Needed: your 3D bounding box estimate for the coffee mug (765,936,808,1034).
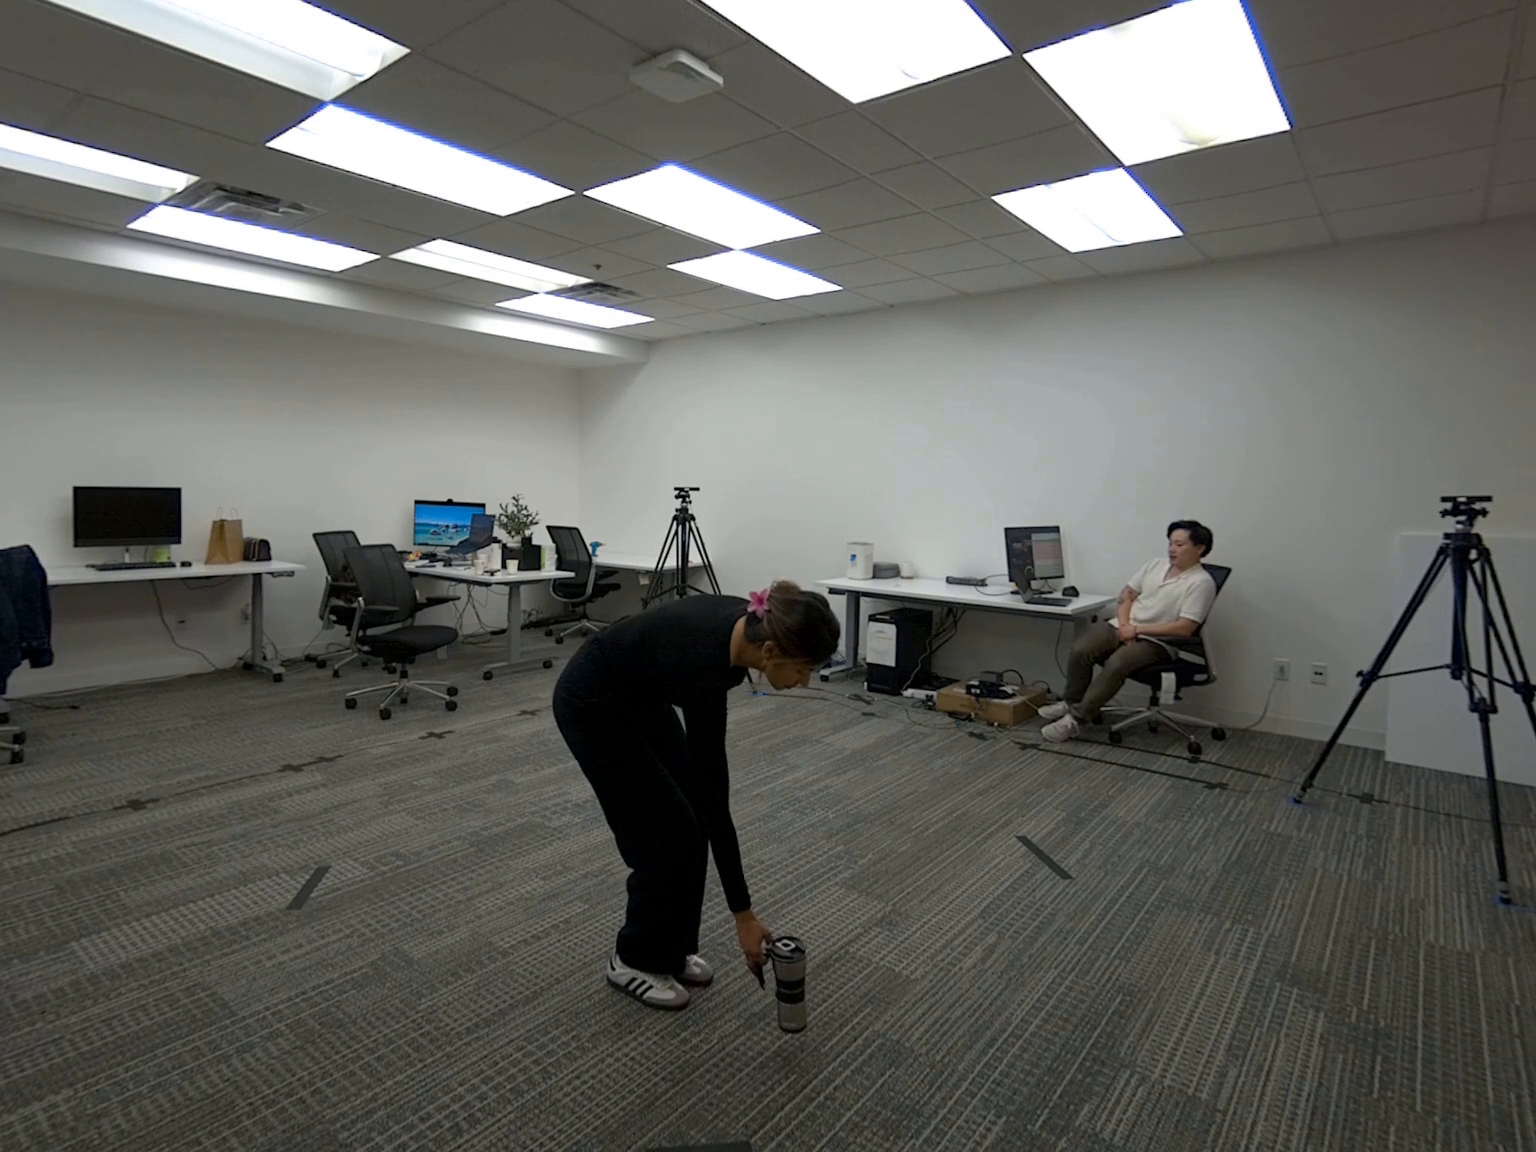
[{"bbox_3d":[0.029,1.015,2.112,0.126,0.202,0.085,6,9,43],"label":"coffee mug"}]
